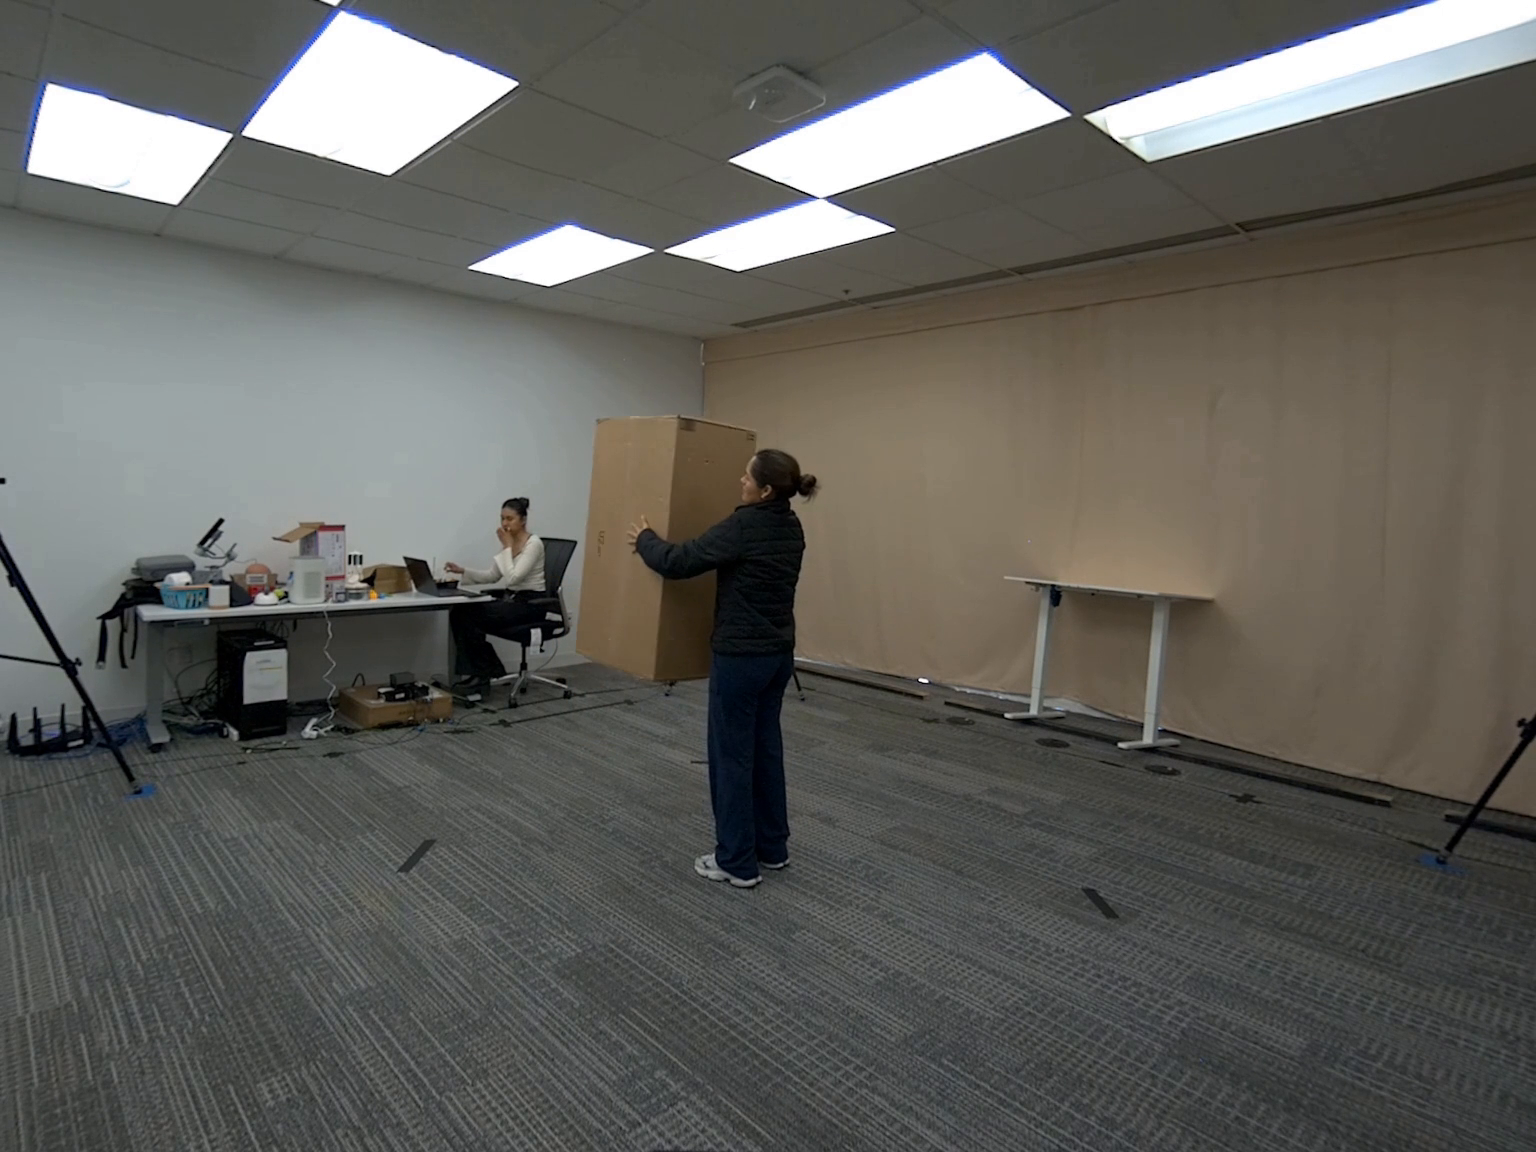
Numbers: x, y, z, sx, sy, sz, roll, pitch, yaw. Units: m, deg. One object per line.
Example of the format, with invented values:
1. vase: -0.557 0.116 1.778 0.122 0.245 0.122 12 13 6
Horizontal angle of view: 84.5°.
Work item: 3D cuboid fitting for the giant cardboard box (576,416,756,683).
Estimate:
1. giant cardboard box: -0.440 -0.130 3.539 0.415 1.024 0.593 4 3 -44
